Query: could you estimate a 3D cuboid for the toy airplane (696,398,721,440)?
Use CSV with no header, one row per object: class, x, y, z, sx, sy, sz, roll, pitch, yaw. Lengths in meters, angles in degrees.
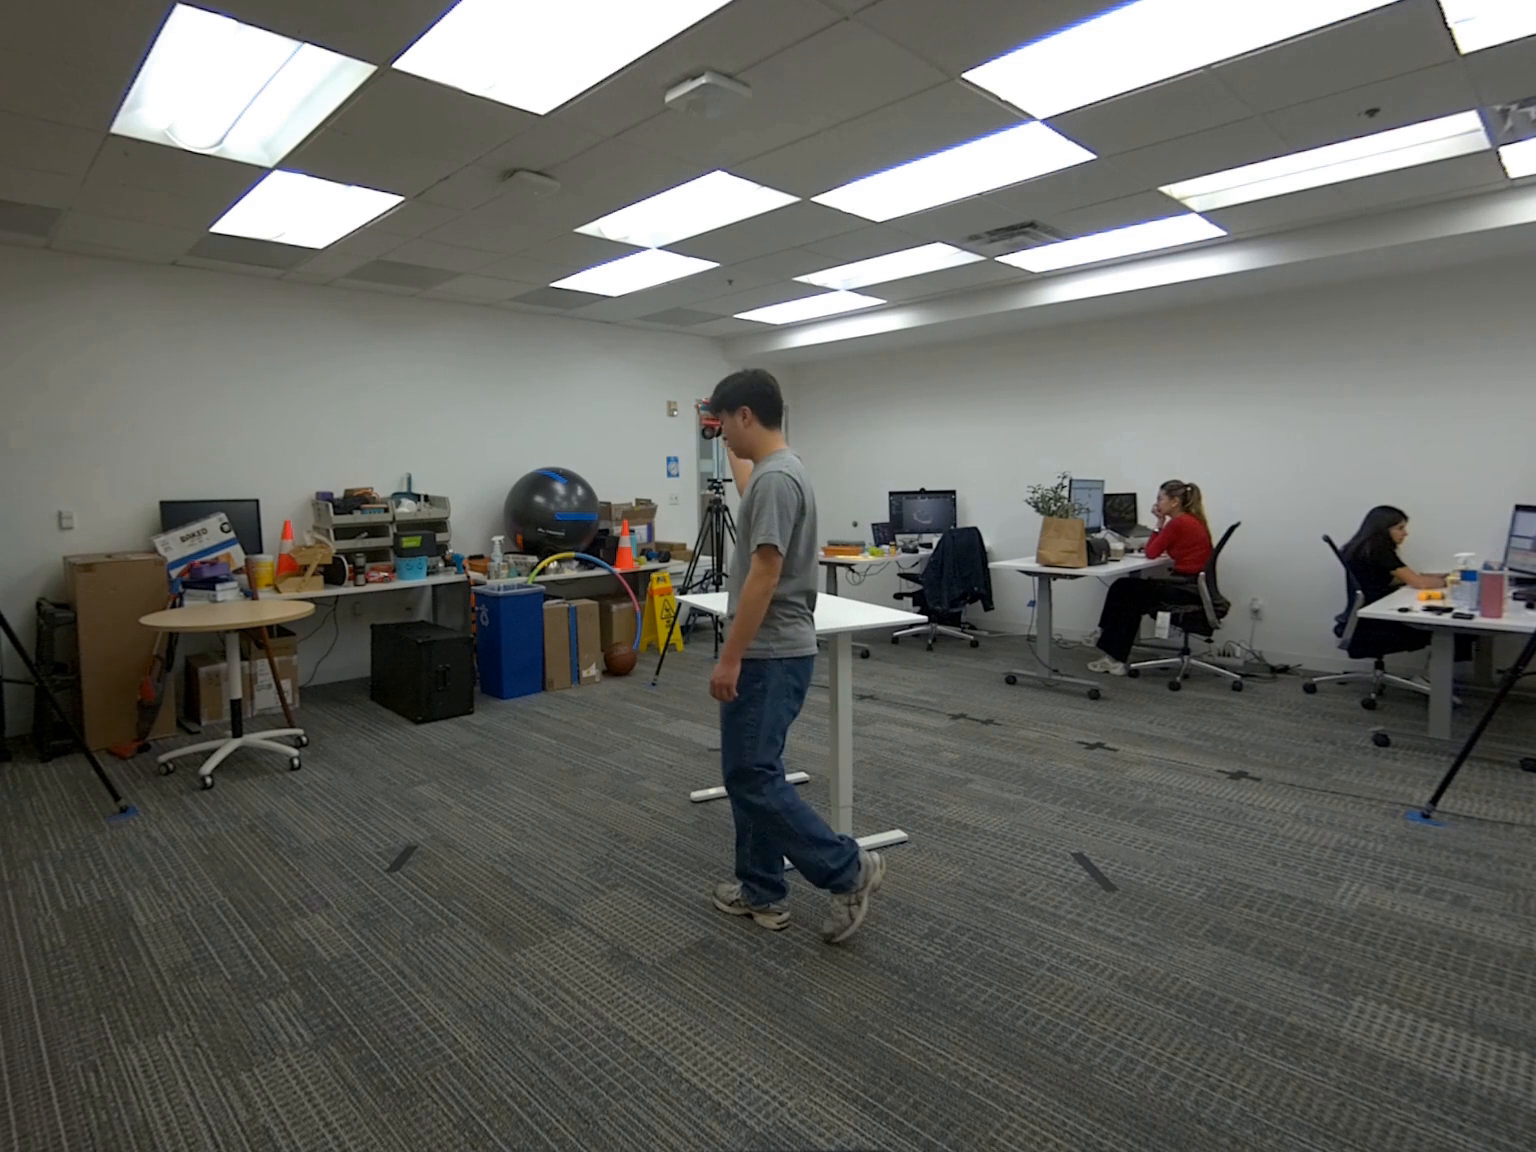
toy airplane,-0.133,-0.612,3.240,0.257,0.154,0.256,-14,13,-11
